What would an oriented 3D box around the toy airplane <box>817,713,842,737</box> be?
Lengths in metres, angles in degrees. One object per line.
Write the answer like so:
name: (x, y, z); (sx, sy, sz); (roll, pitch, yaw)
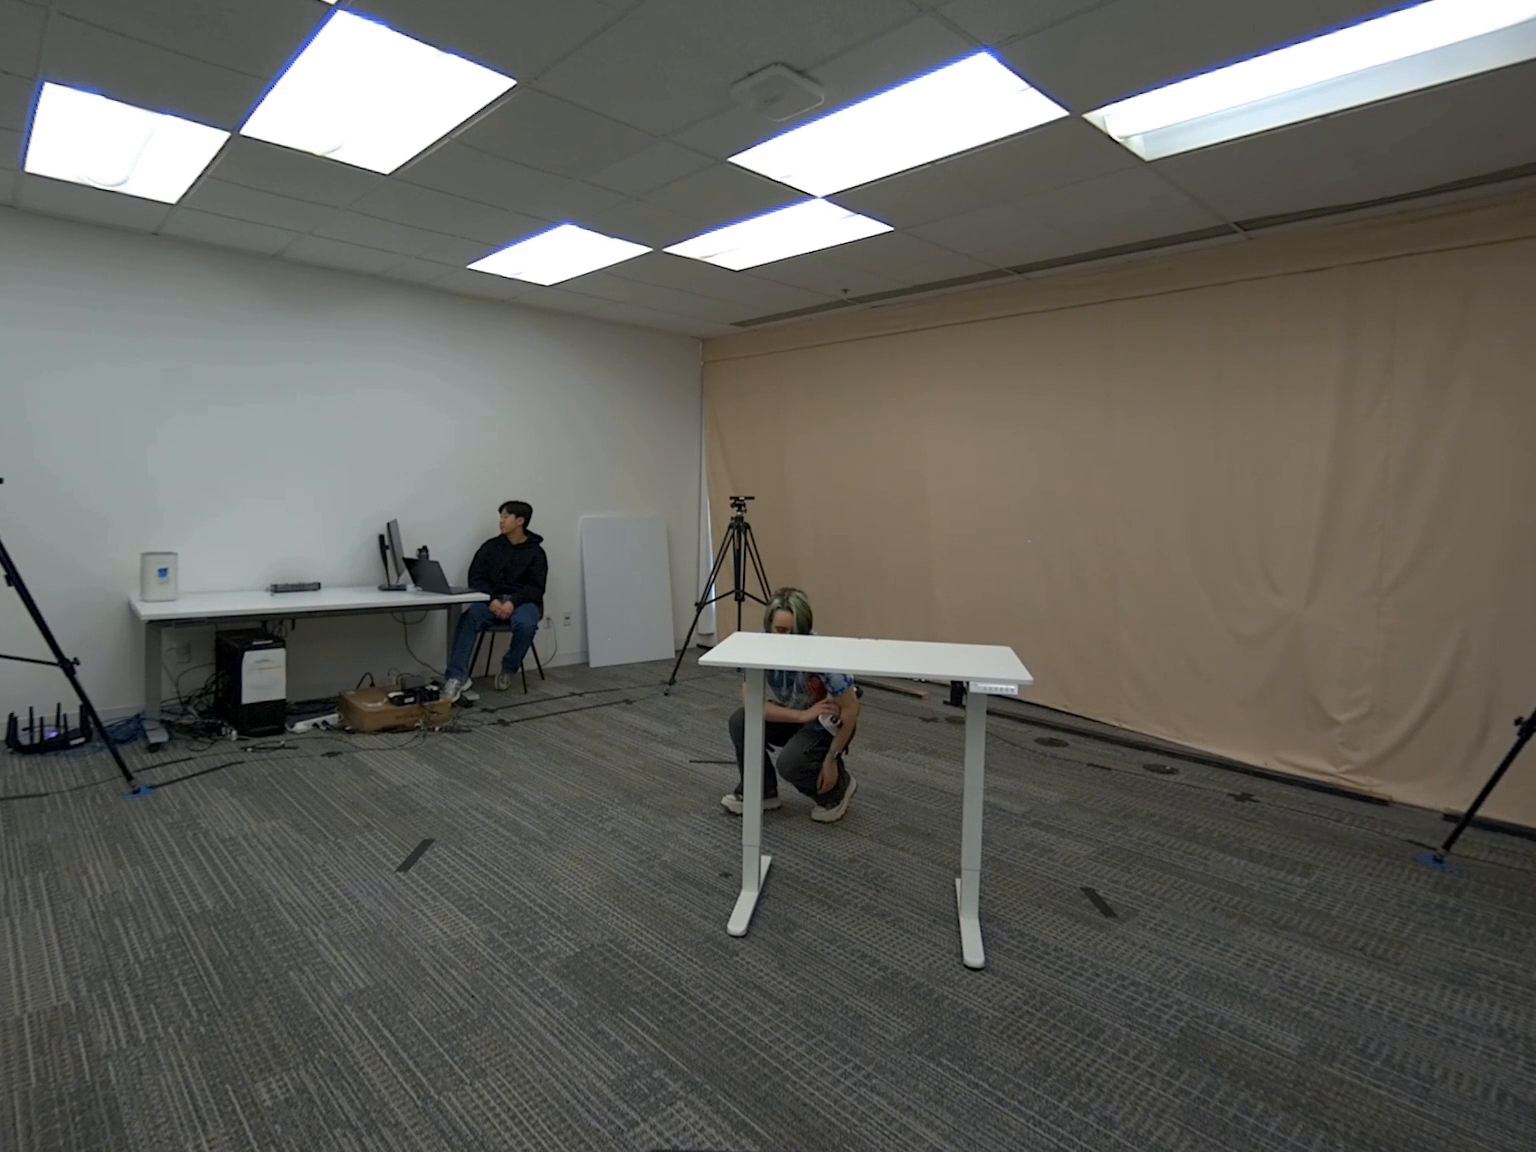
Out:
toy airplane: (0.256, 0.528, 3.544); (0.159, 0.249, 0.256); (-14, 11, 48)
